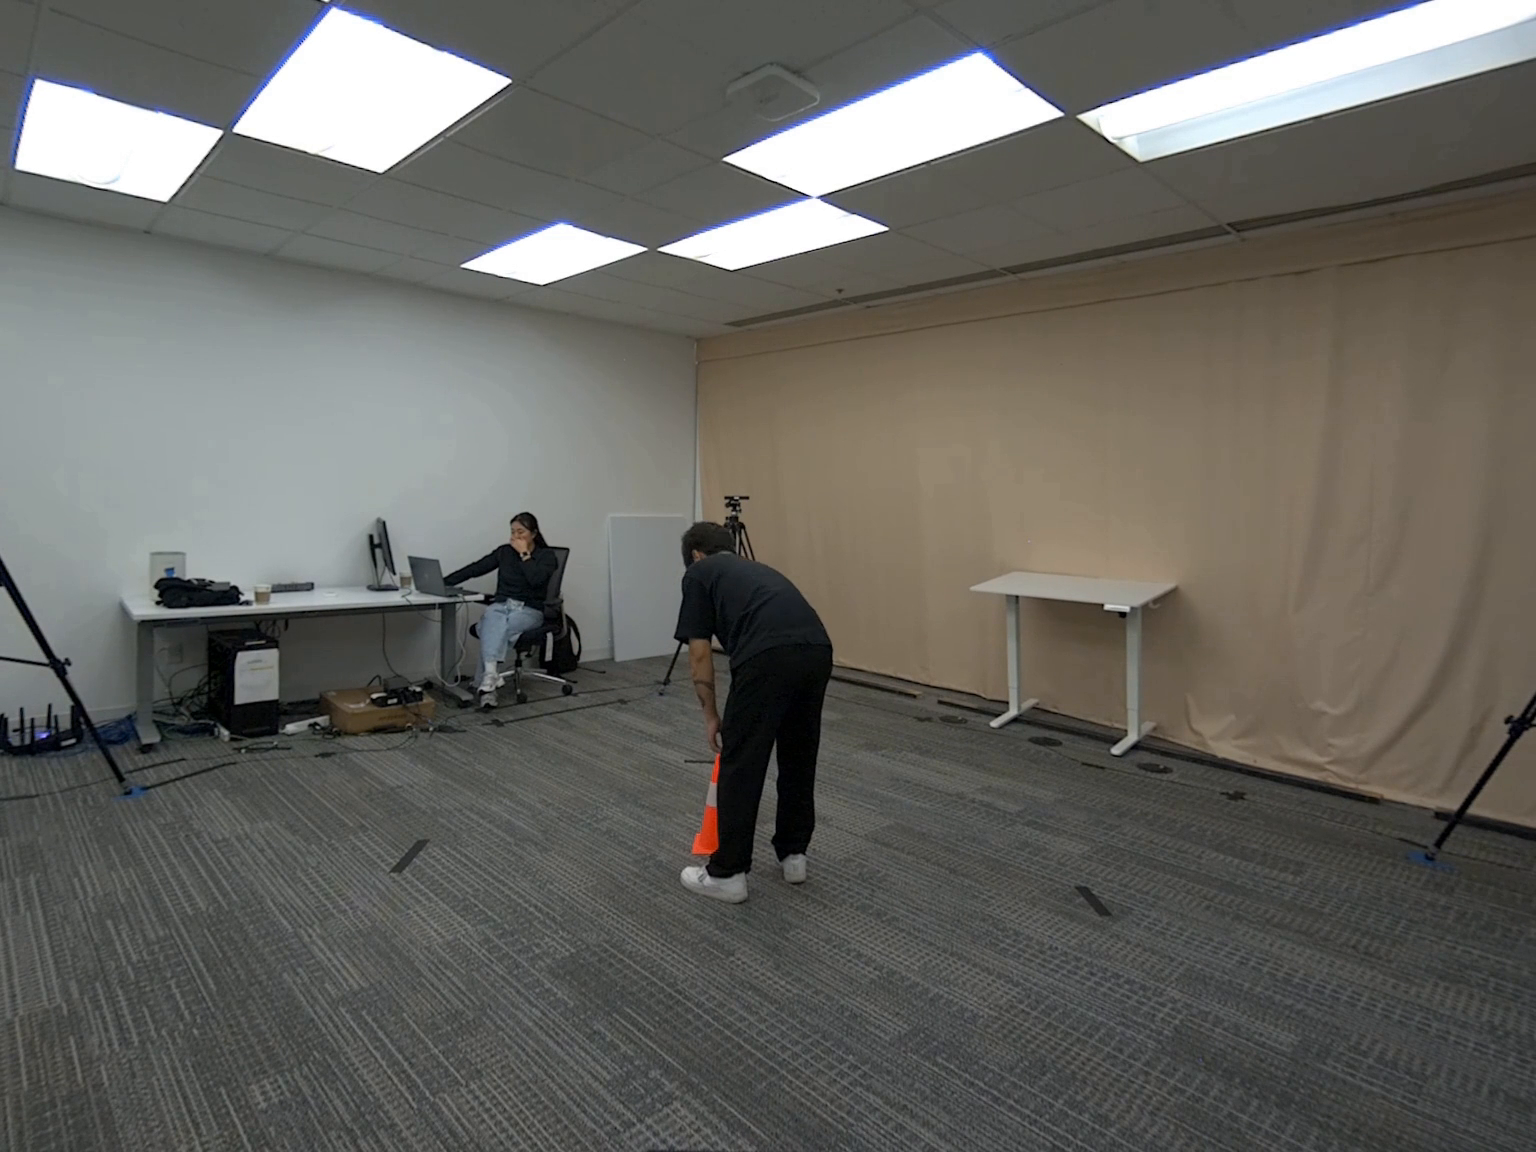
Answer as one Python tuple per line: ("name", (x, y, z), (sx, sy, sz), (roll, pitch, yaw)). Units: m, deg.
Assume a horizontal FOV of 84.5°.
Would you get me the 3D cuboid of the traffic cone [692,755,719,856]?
("traffic cone", (-0.211, 0.892, 3.376), (0.206, 0.383, 0.203), (0, 2, 4))
